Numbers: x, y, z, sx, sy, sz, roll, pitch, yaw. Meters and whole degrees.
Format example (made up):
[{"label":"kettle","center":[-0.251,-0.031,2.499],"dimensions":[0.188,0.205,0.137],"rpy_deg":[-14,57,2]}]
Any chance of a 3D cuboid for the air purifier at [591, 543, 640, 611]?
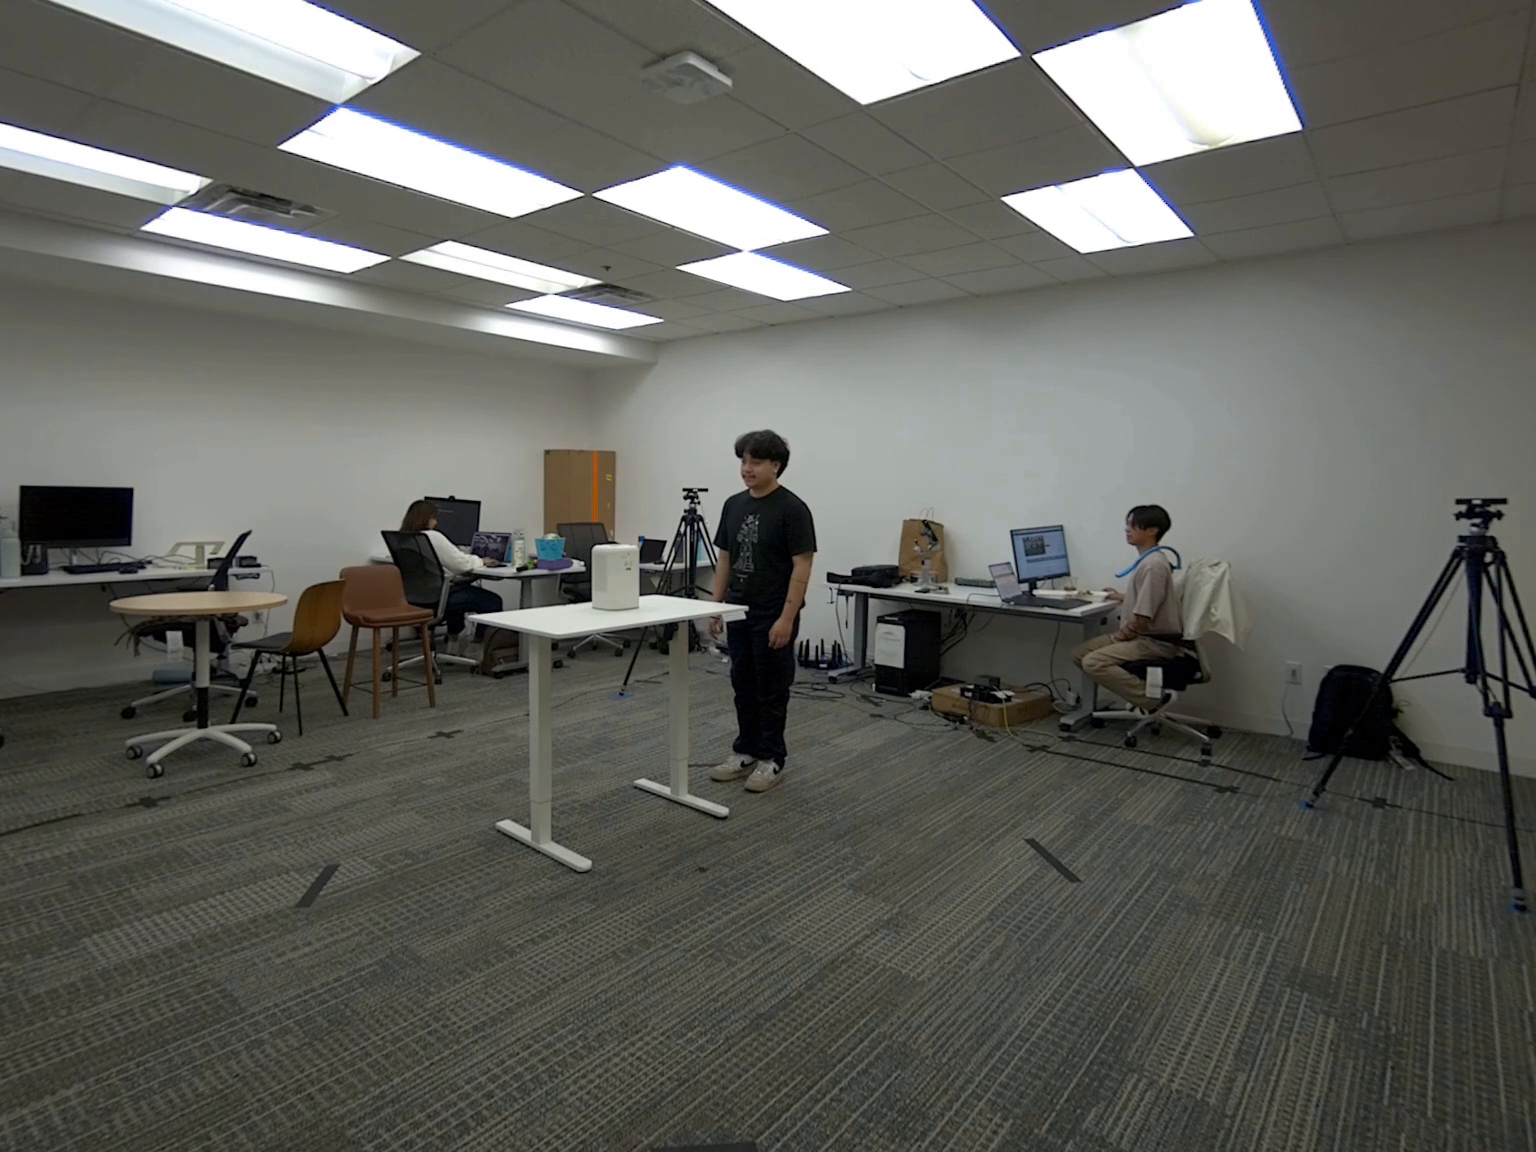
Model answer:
[{"label":"air purifier","center":[-0.659,-0.002,3.596],"dimensions":[0.177,0.264,0.166],"rpy_deg":[4,5,43]}]
